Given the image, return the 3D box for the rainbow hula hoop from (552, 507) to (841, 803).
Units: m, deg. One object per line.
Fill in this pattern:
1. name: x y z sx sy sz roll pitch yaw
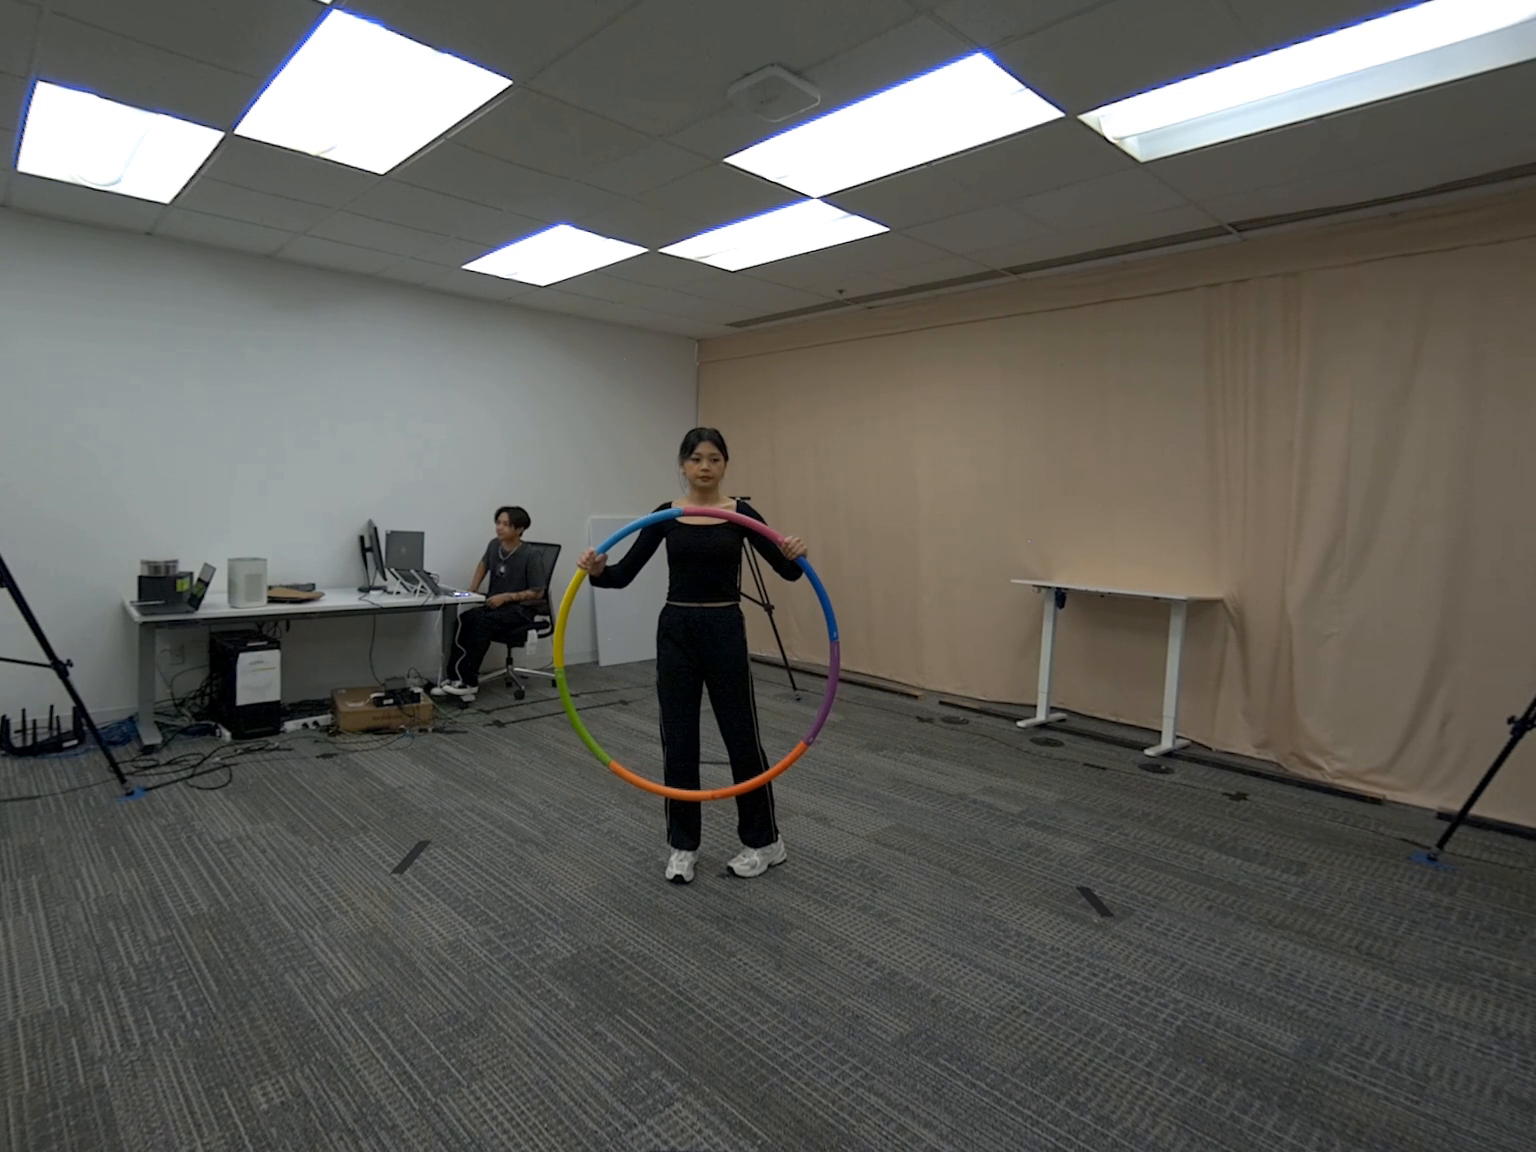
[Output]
1. rainbow hula hoop: -0.243 0.270 2.852 0.979 0.978 0.035 1 1 1
